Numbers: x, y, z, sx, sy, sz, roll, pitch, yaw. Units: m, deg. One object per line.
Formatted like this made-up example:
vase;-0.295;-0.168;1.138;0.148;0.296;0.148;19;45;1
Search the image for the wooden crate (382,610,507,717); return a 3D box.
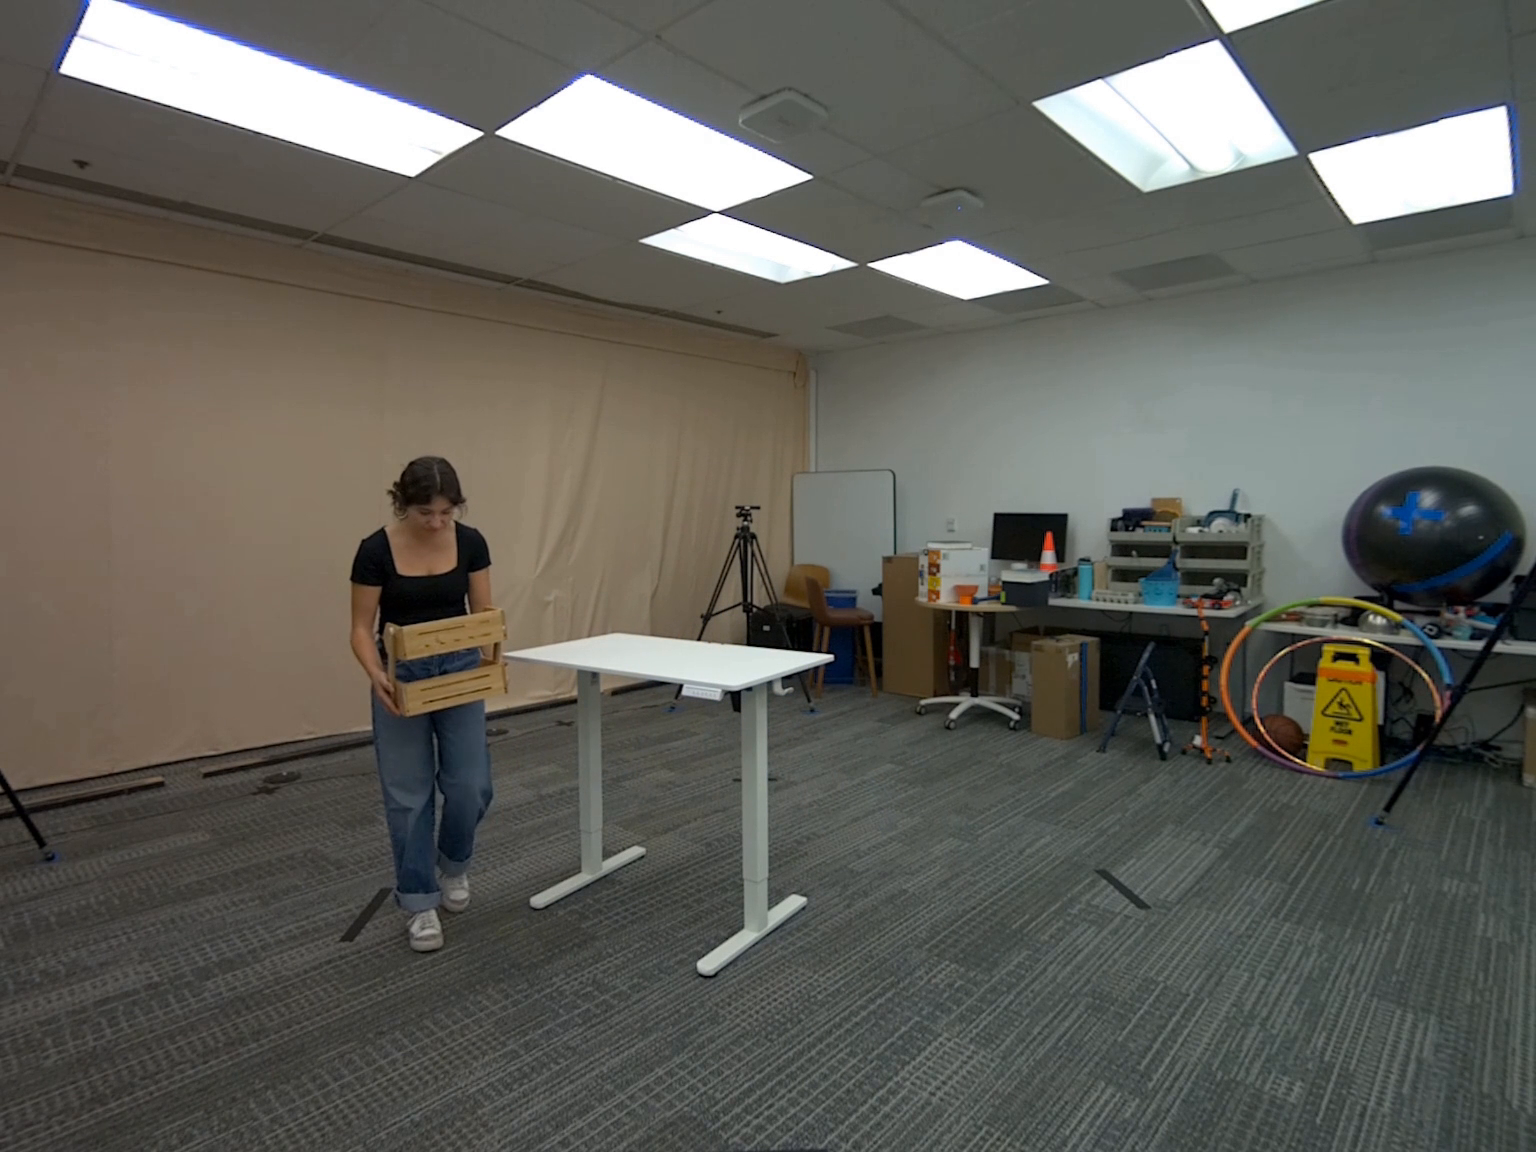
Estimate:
wooden crate;-0.973;0.241;2.516;0.315;0.272;0.312;-10;9;-38
